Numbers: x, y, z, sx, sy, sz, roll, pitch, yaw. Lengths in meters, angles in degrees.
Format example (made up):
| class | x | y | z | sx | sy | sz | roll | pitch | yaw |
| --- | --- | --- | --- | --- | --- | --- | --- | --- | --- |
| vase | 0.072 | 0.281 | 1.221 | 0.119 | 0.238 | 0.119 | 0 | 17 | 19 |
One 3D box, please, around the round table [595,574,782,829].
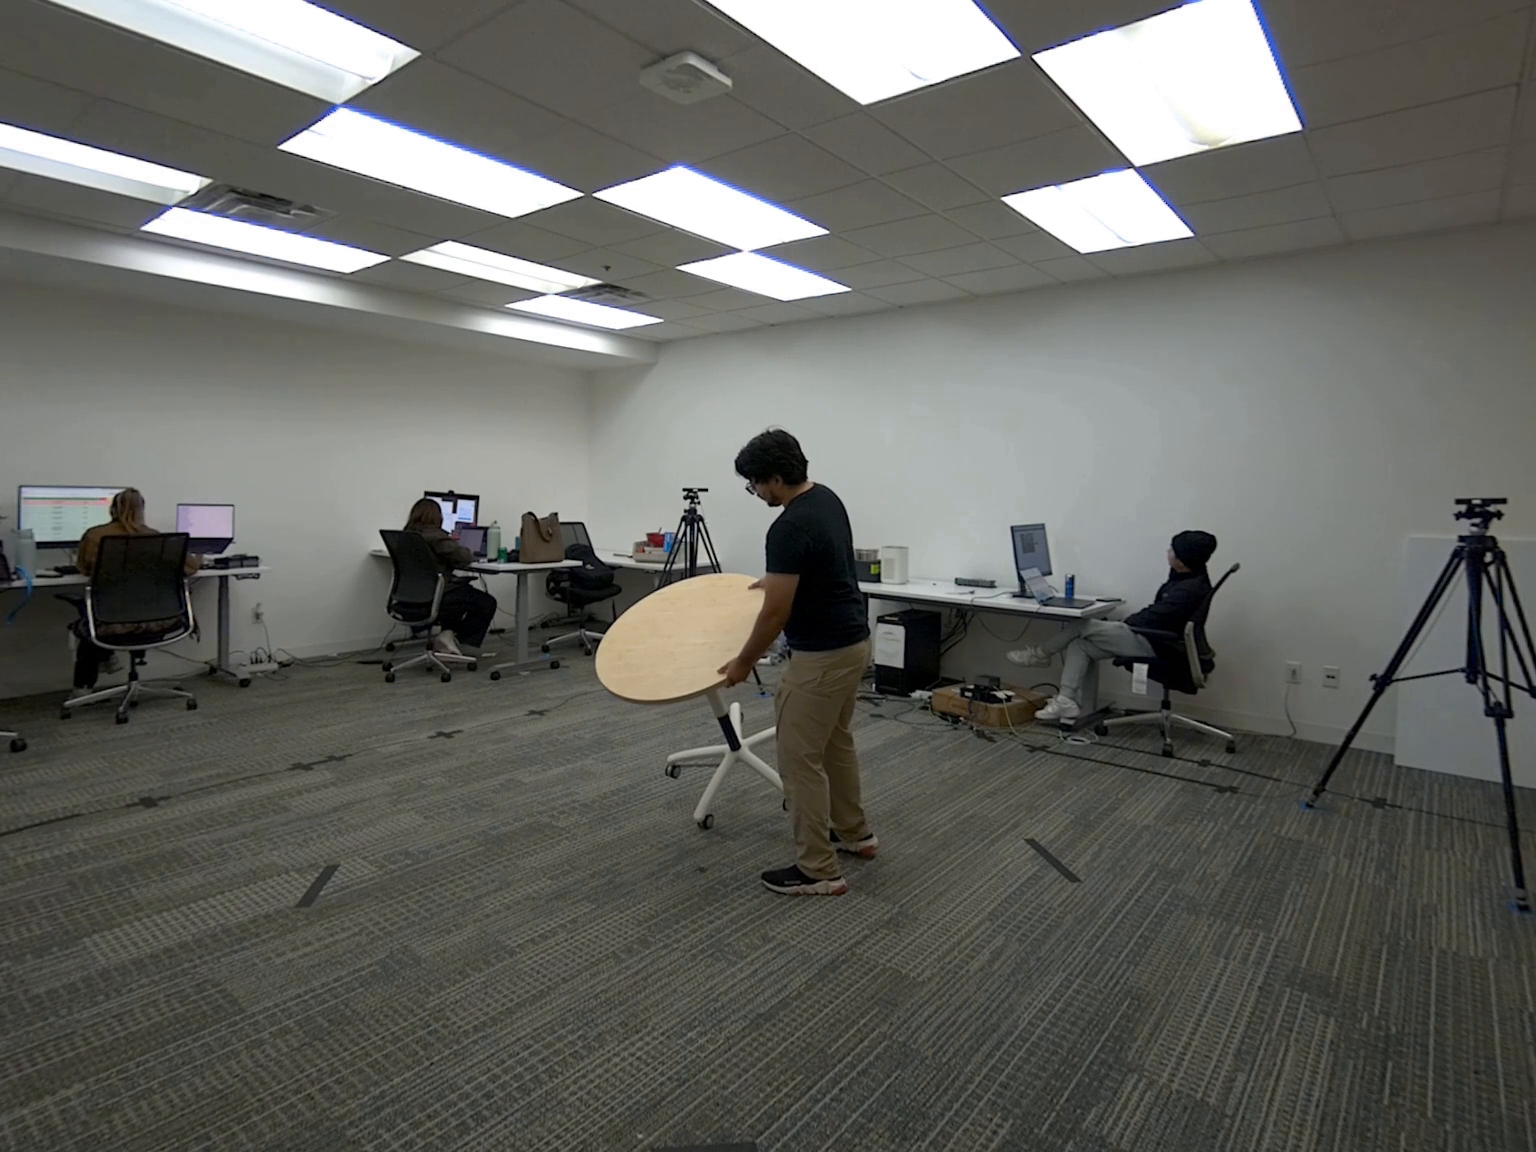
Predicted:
| class | x | y | z | sx | sy | sz | roll | pitch | yaw |
| --- | --- | --- | --- | --- | --- | --- | --- | --- | --- |
| round table | -0.219 | 0.521 | 3.541 | 0.790 | 0.761 | 0.806 | -15 | 30 | 7 |
